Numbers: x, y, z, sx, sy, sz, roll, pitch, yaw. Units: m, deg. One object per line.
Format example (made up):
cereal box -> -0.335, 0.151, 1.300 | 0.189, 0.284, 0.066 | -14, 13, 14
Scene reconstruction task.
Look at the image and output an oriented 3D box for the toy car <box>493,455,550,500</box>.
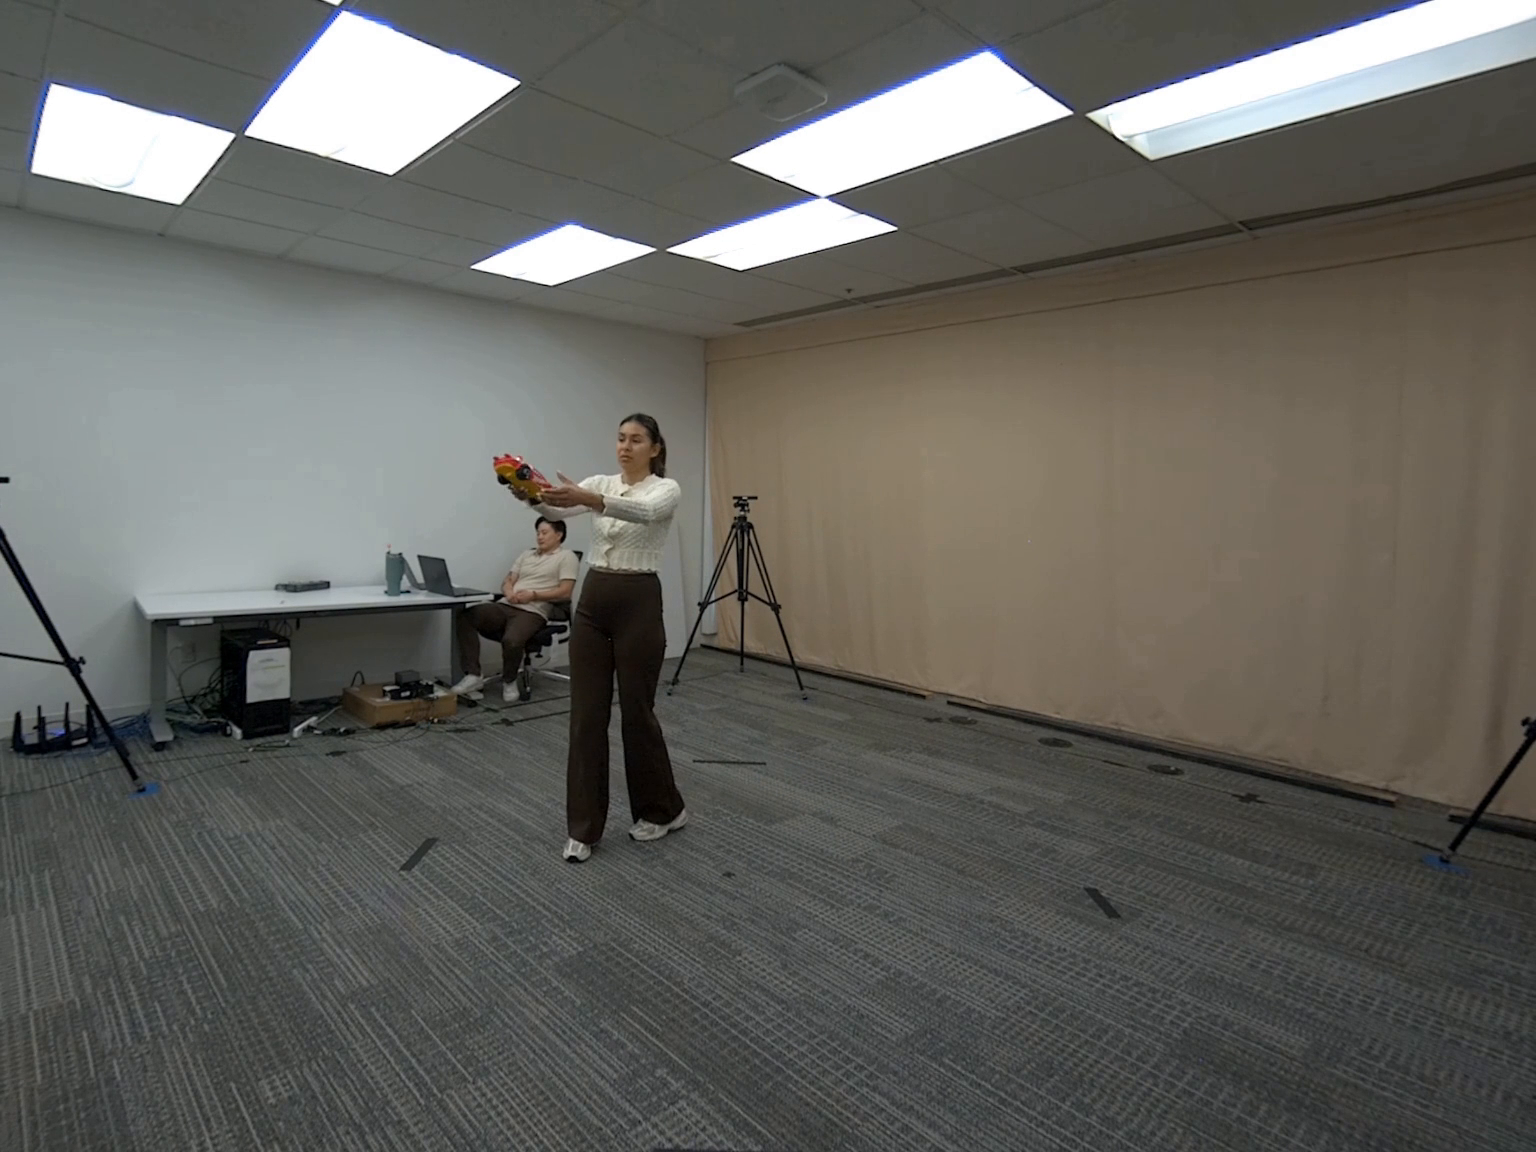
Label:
toy car -> -0.814, -0.318, 2.781 | 0.133, 0.084, 0.246 | -5, -40, 33
